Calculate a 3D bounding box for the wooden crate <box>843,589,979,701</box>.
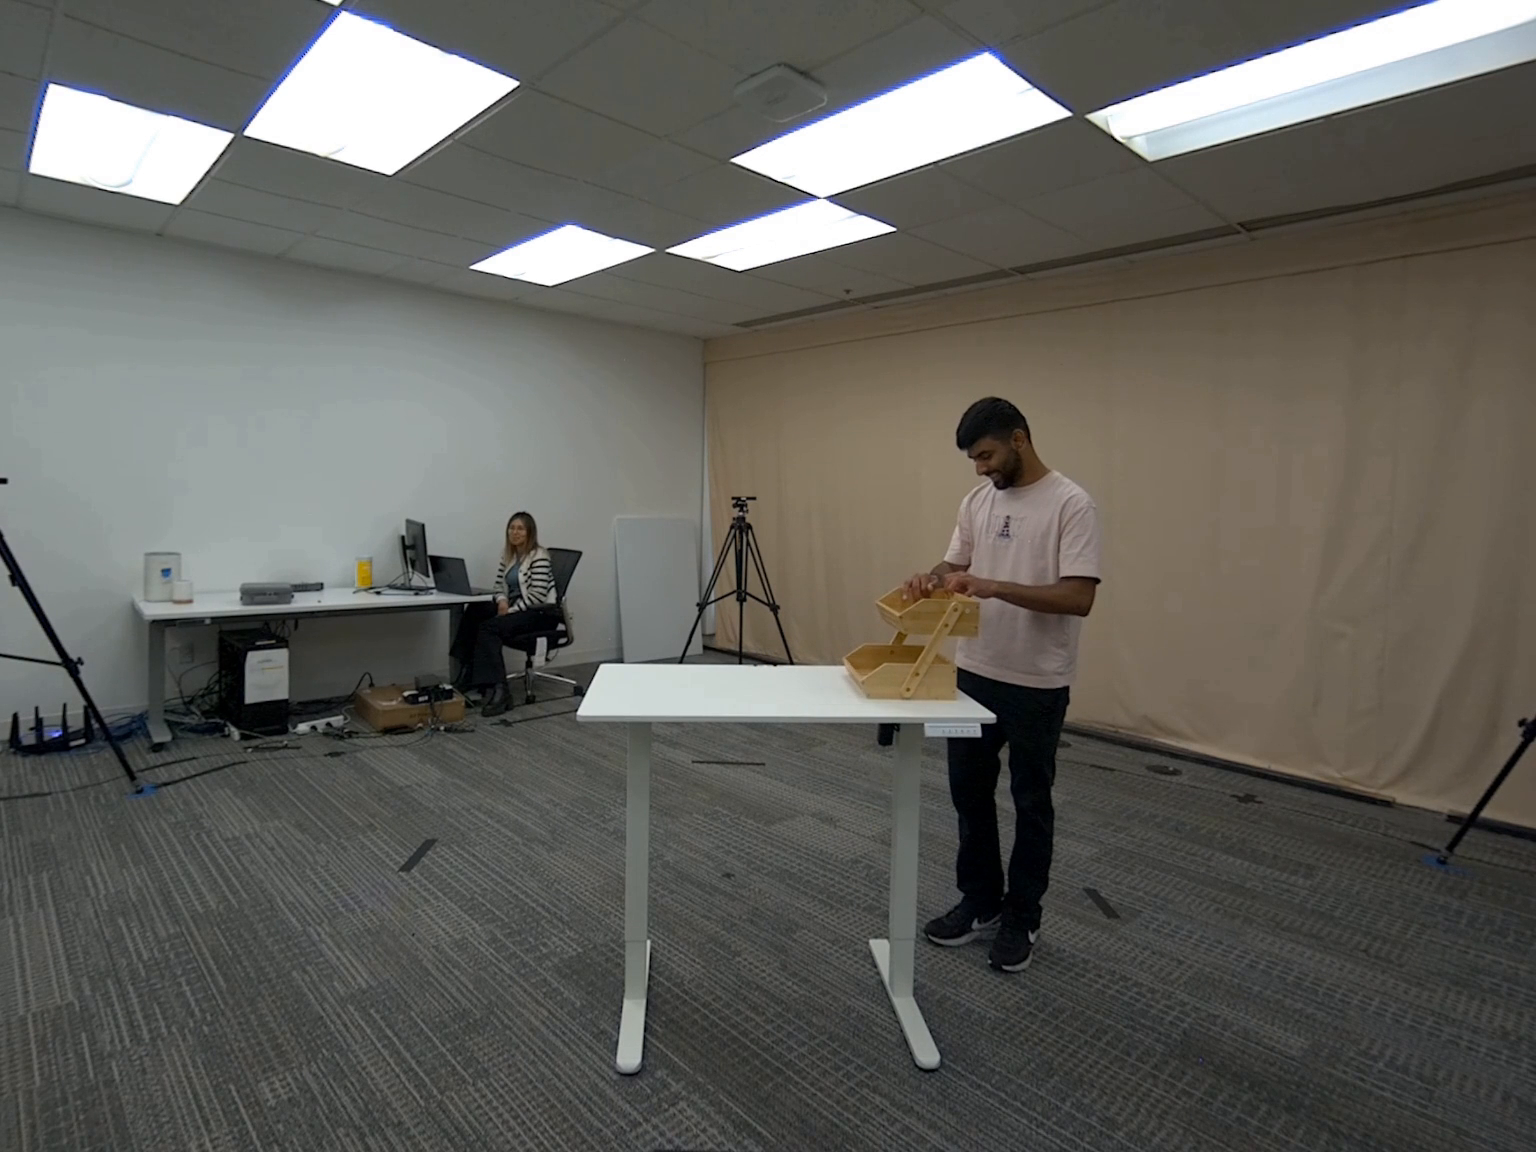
[{"bbox_3d":[0.373,0.174,2.302,0.301,0.273,0.326,4,4,-4],"label":"wooden crate"}]
